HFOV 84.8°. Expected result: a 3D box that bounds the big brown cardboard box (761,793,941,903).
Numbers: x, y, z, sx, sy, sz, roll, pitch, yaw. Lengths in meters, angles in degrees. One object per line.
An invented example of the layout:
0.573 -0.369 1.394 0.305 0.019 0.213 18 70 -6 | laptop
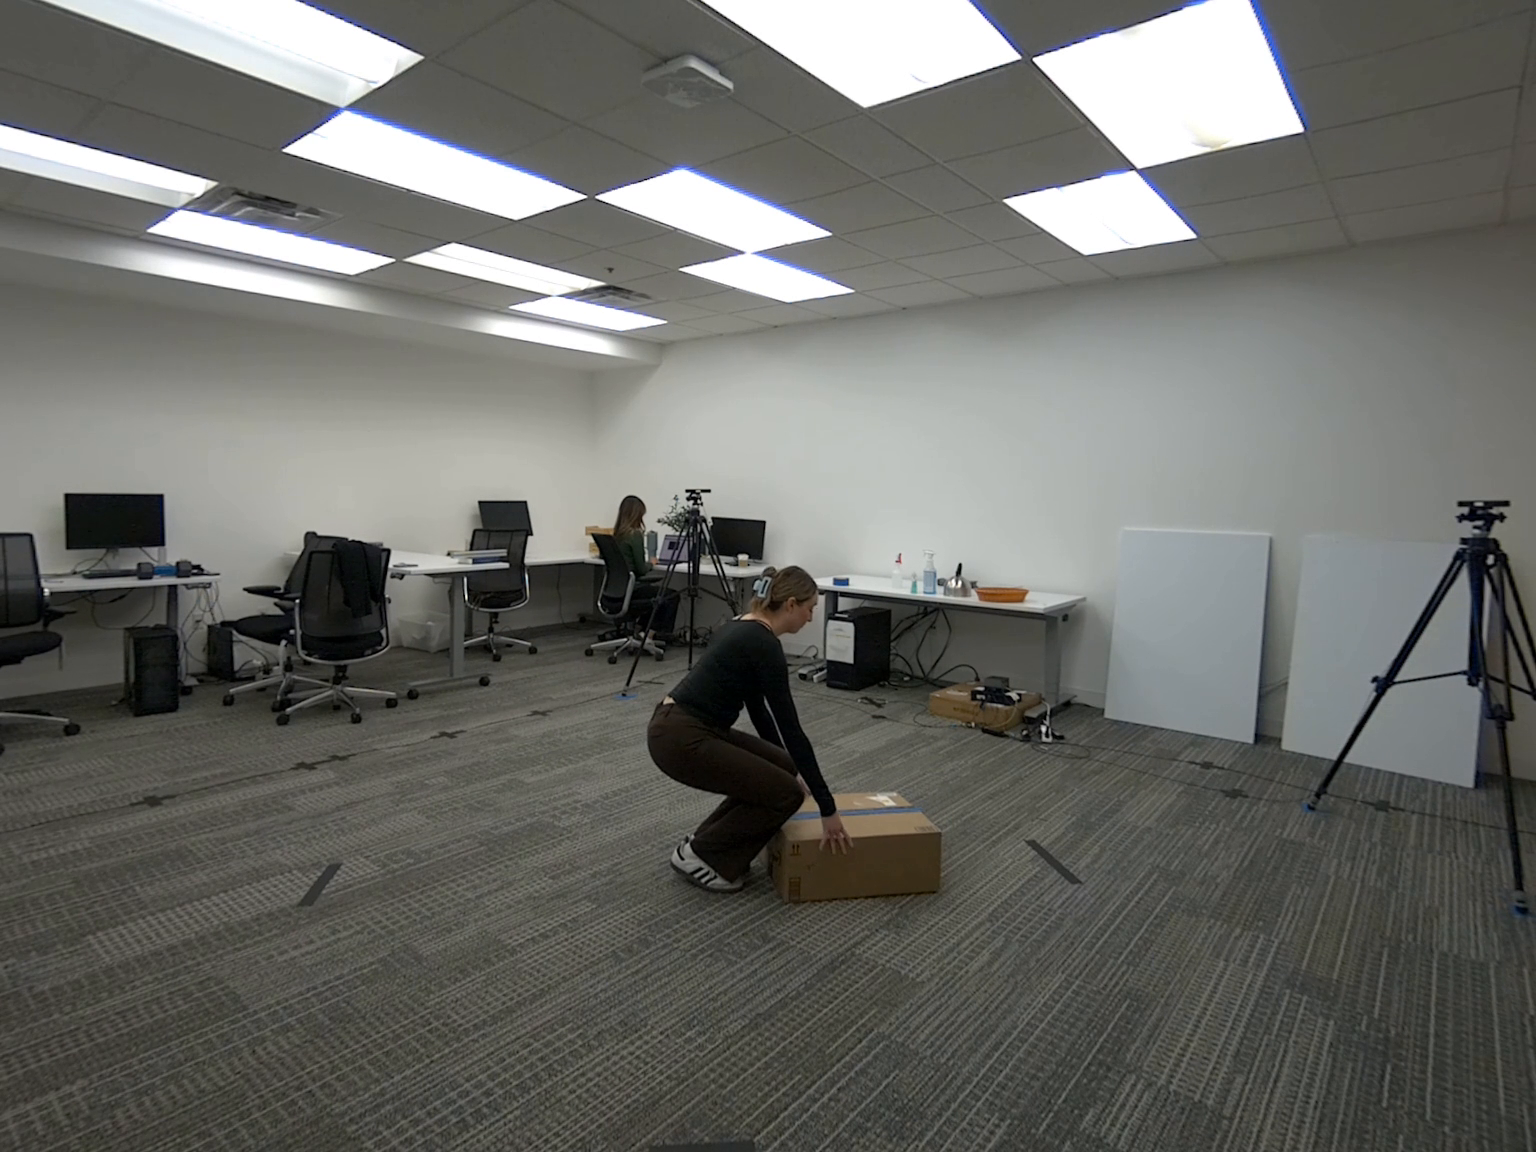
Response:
0.285 0.973 3.115 0.581 0.232 0.425 -1 5 -13 | big brown cardboard box
